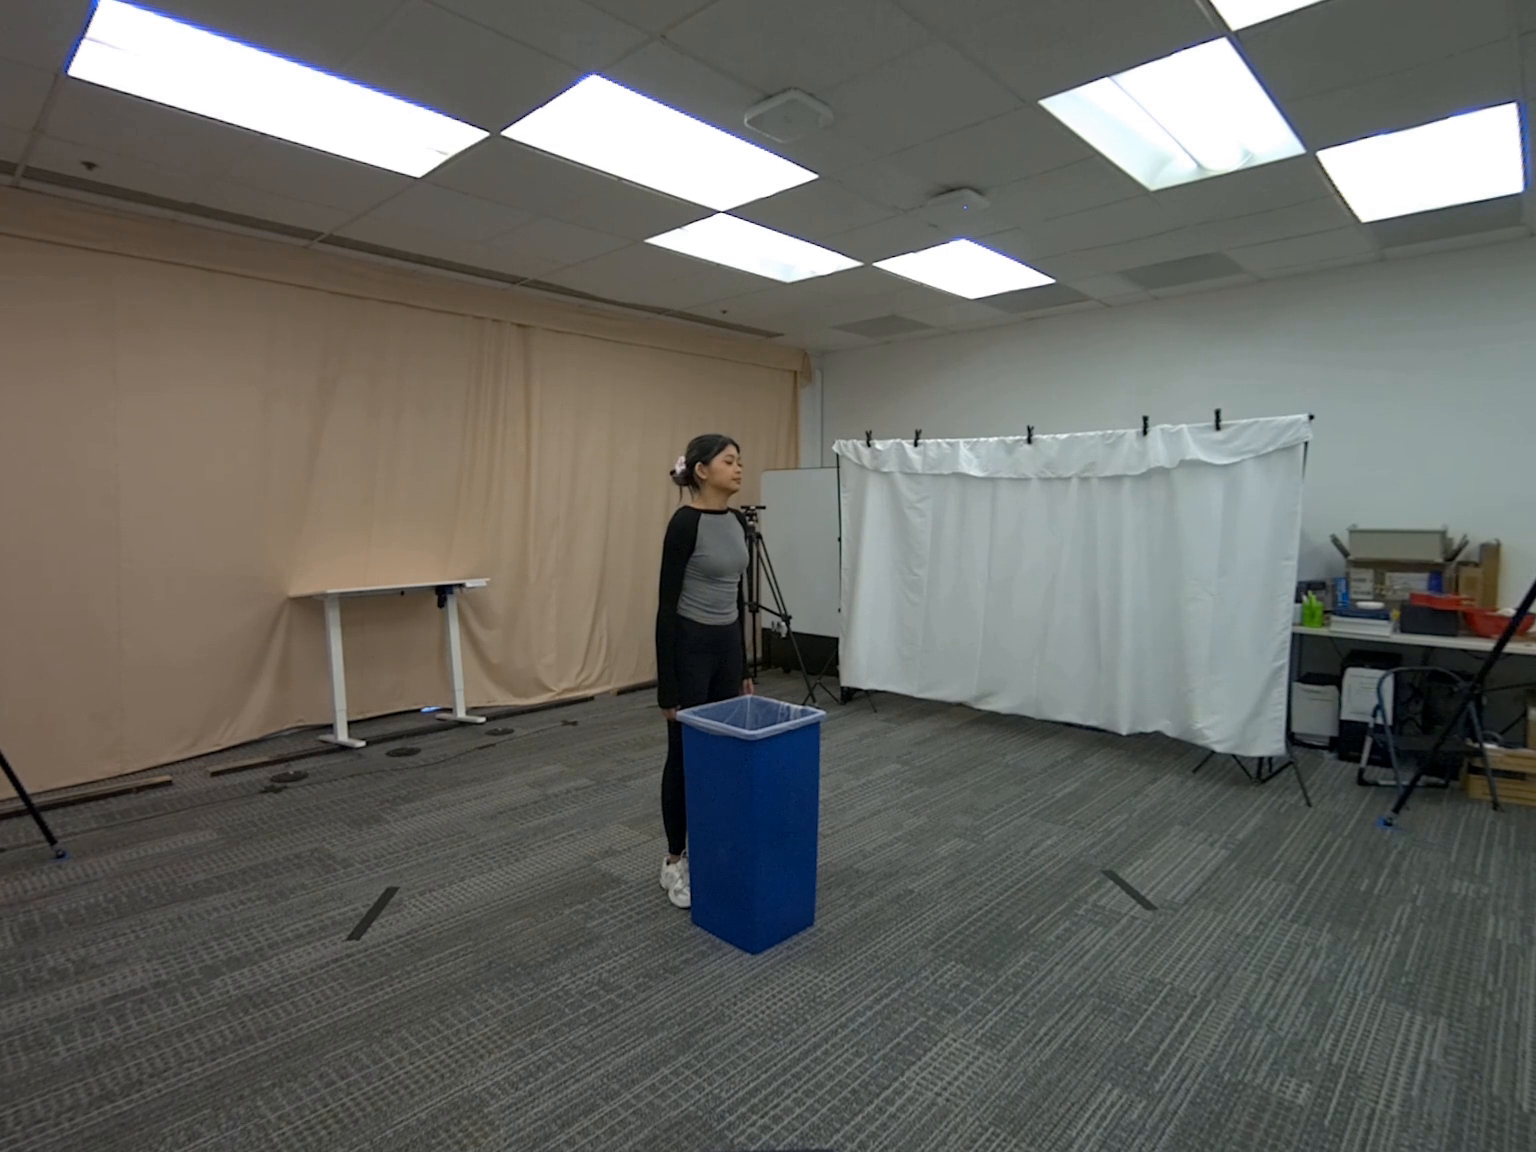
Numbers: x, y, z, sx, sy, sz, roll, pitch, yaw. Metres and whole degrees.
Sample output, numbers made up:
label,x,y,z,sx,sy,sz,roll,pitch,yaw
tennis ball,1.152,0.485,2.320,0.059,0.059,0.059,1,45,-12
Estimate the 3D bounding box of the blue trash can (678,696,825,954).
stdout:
label,x,y,z,sx,sy,sz,roll,pitch,yaw
blue trash can,-0.049,0.803,2.785,0.391,0.712,0.362,3,4,45
